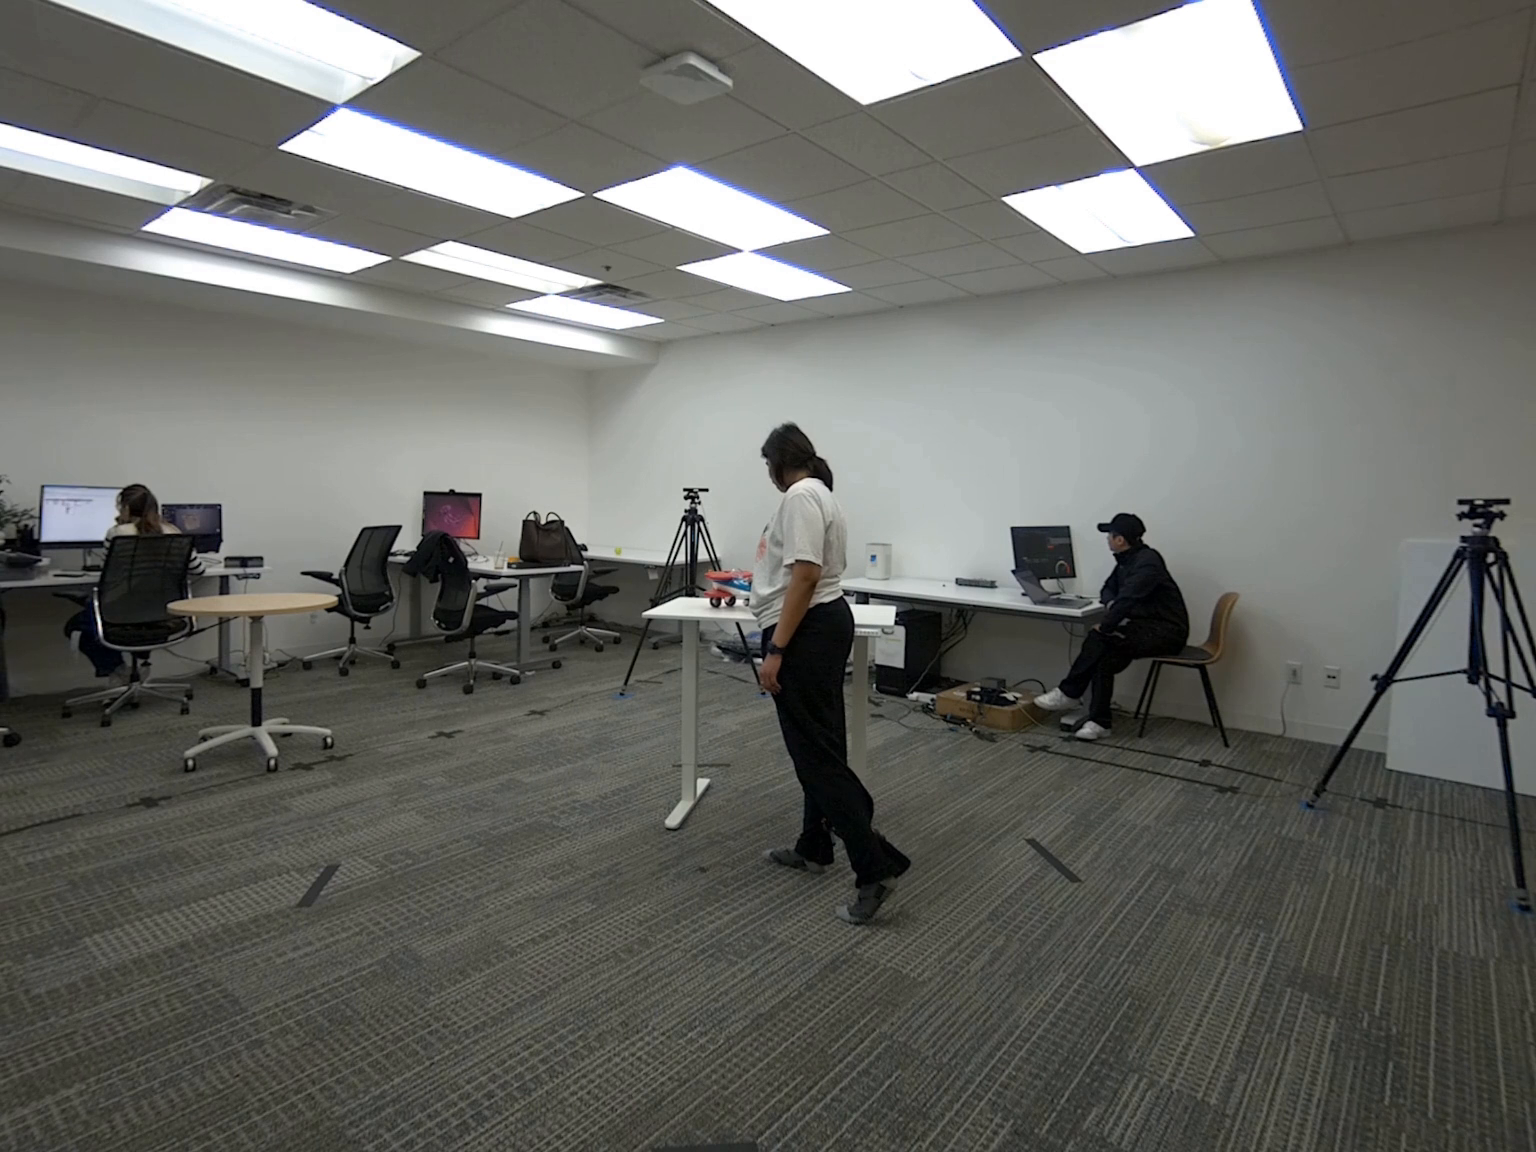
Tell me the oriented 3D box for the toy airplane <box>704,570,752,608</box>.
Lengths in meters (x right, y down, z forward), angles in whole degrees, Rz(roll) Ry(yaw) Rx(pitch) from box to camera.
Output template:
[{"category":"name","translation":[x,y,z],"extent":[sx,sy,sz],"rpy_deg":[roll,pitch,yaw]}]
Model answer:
[{"category":"toy airplane","translation":[-0.147,0.052,3.675],"extent":[0.264,0.157,0.246],"rpy_deg":[-4,-1,20]}]
